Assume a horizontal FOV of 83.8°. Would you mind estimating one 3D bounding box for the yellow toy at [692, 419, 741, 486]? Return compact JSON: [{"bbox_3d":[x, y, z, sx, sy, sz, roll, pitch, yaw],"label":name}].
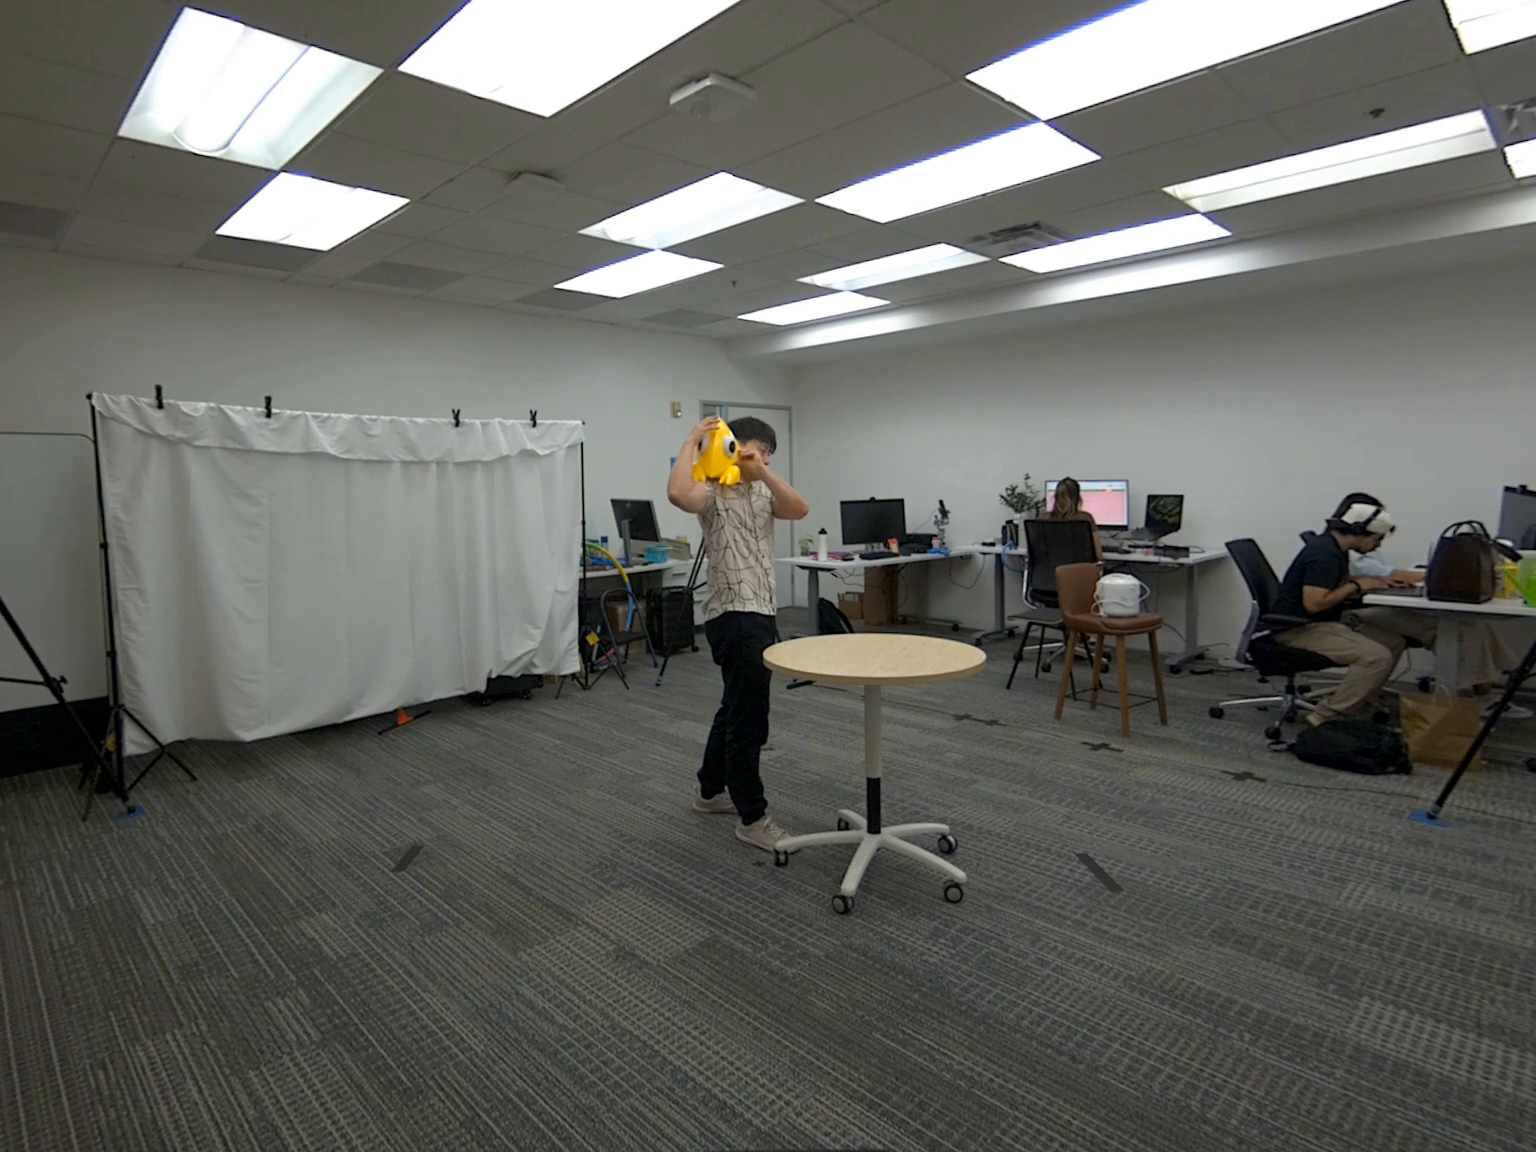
[{"bbox_3d":[-0.197,-0.494,3.326,0.206,0.227,0.195,5,20,5],"label":"yellow toy"}]
